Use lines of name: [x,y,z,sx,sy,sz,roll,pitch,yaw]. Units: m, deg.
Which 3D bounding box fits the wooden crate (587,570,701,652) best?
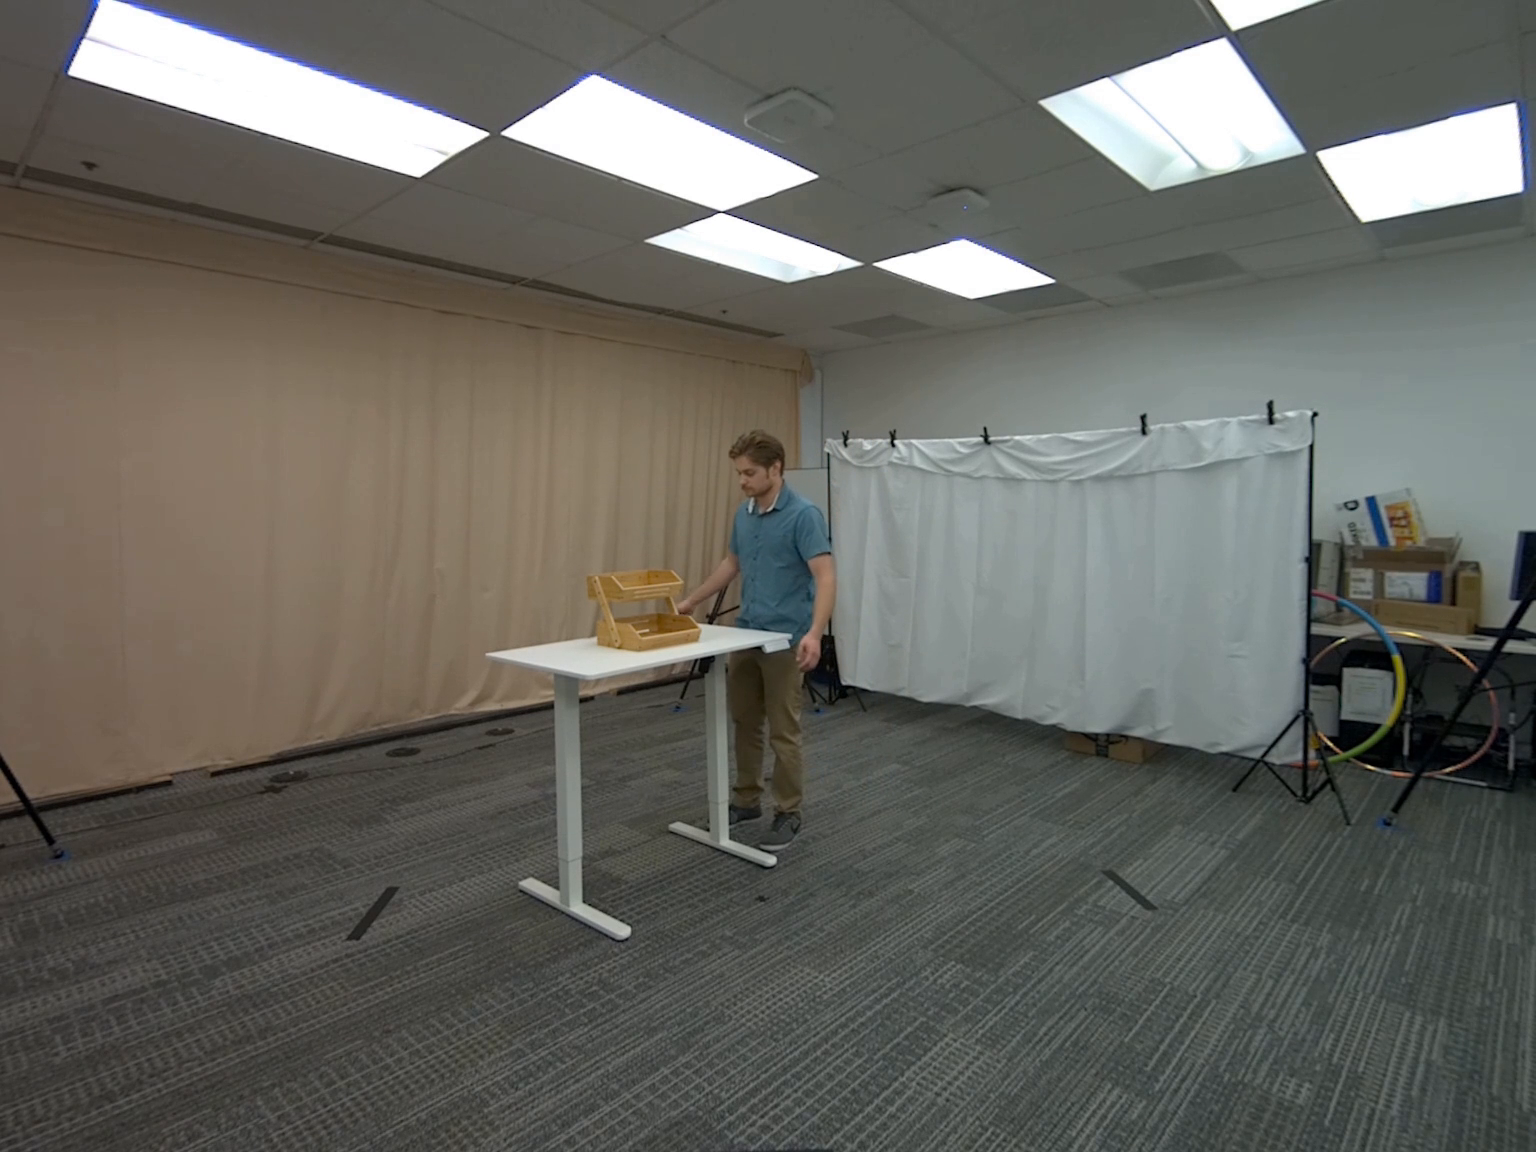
wooden crate: [-0.456,0.117,3.151,0.312,0.273,0.314,1,4,43]
